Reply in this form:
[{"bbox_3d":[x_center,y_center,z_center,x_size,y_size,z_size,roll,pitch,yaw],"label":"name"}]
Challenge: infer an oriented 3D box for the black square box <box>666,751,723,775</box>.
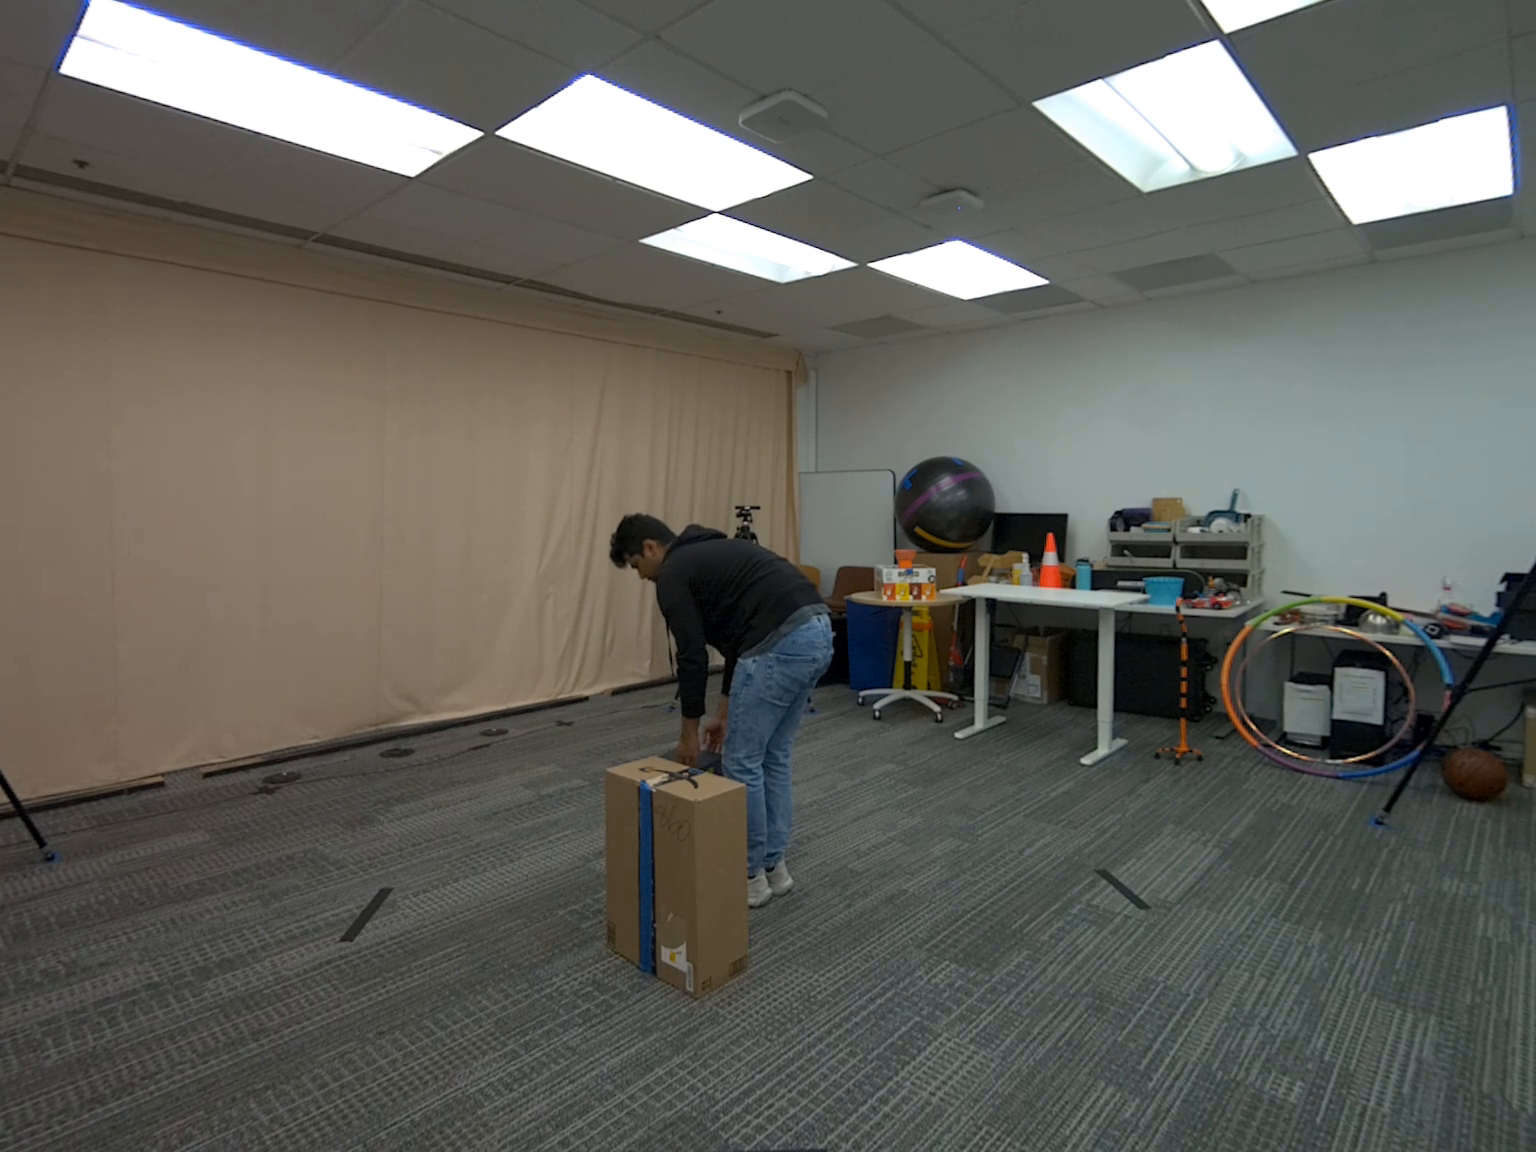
[{"bbox_3d":[-0.303,0.762,3.157,0.223,0.155,0.222,3,5,27],"label":"black square box"}]
